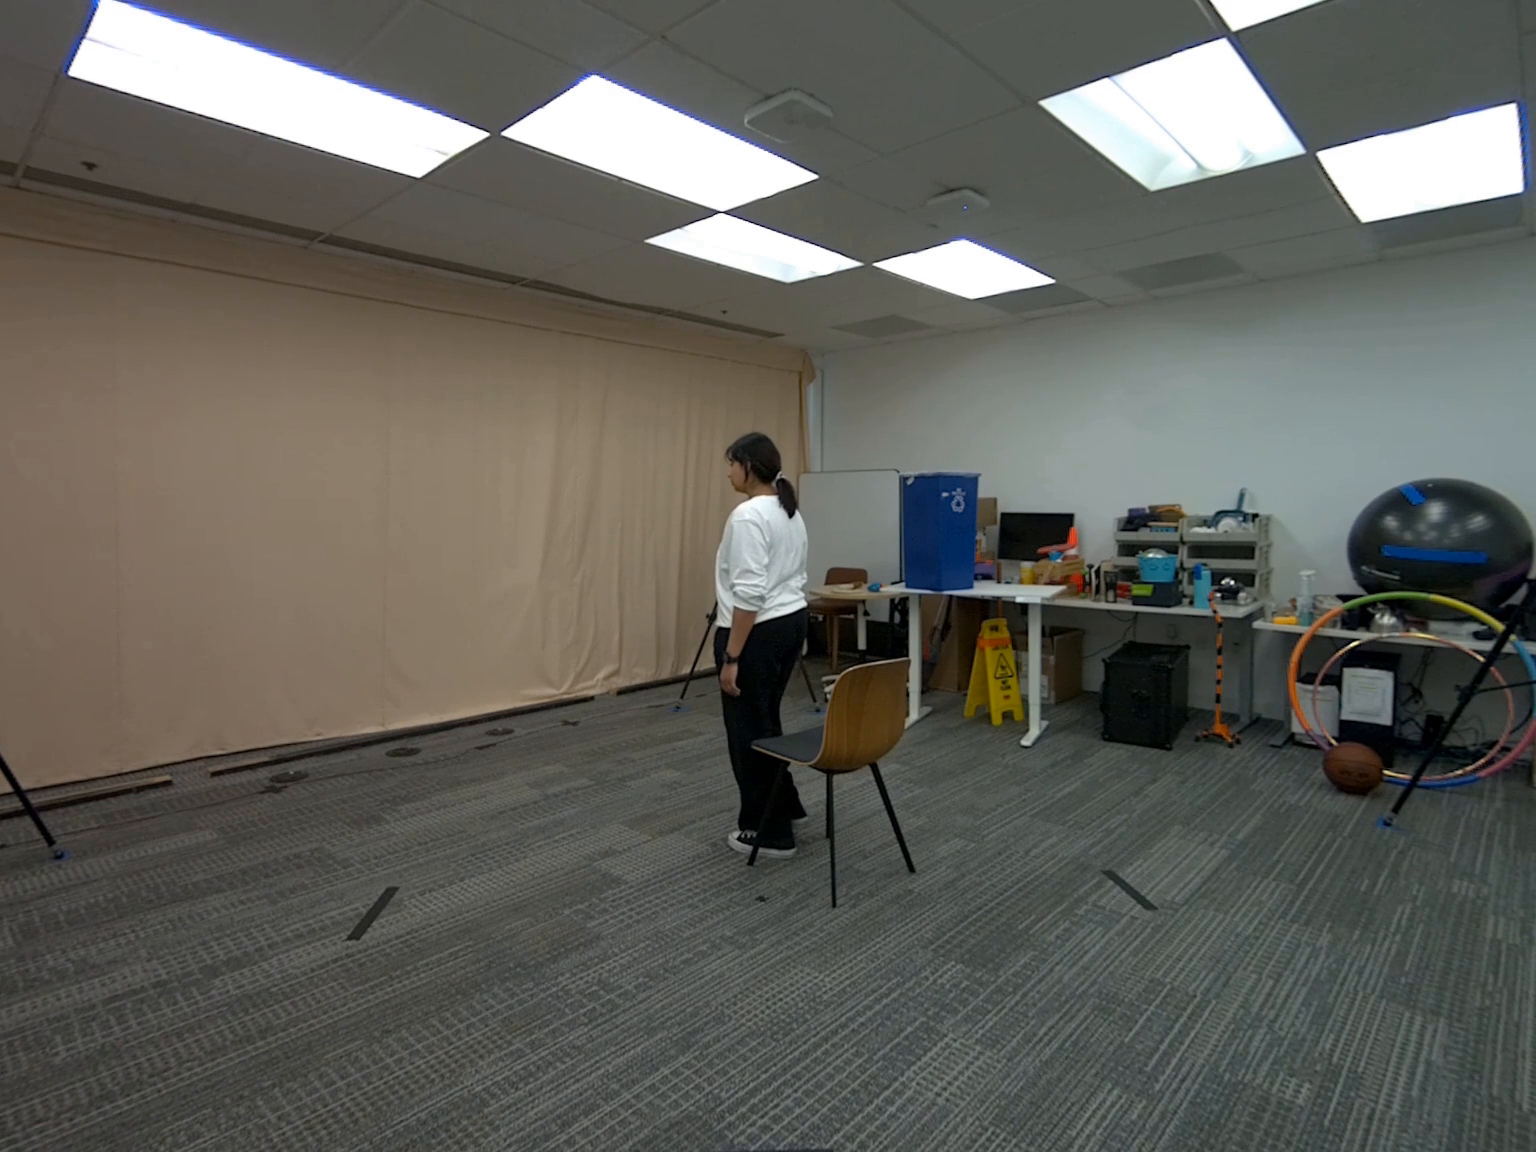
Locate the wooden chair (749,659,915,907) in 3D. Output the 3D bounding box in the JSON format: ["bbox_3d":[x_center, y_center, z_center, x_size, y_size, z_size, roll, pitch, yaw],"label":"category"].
[{"bbox_3d":[0.242,0.697,3.198,0.463,0.874,0.541,-3,9,-42],"label":"wooden chair"}]
